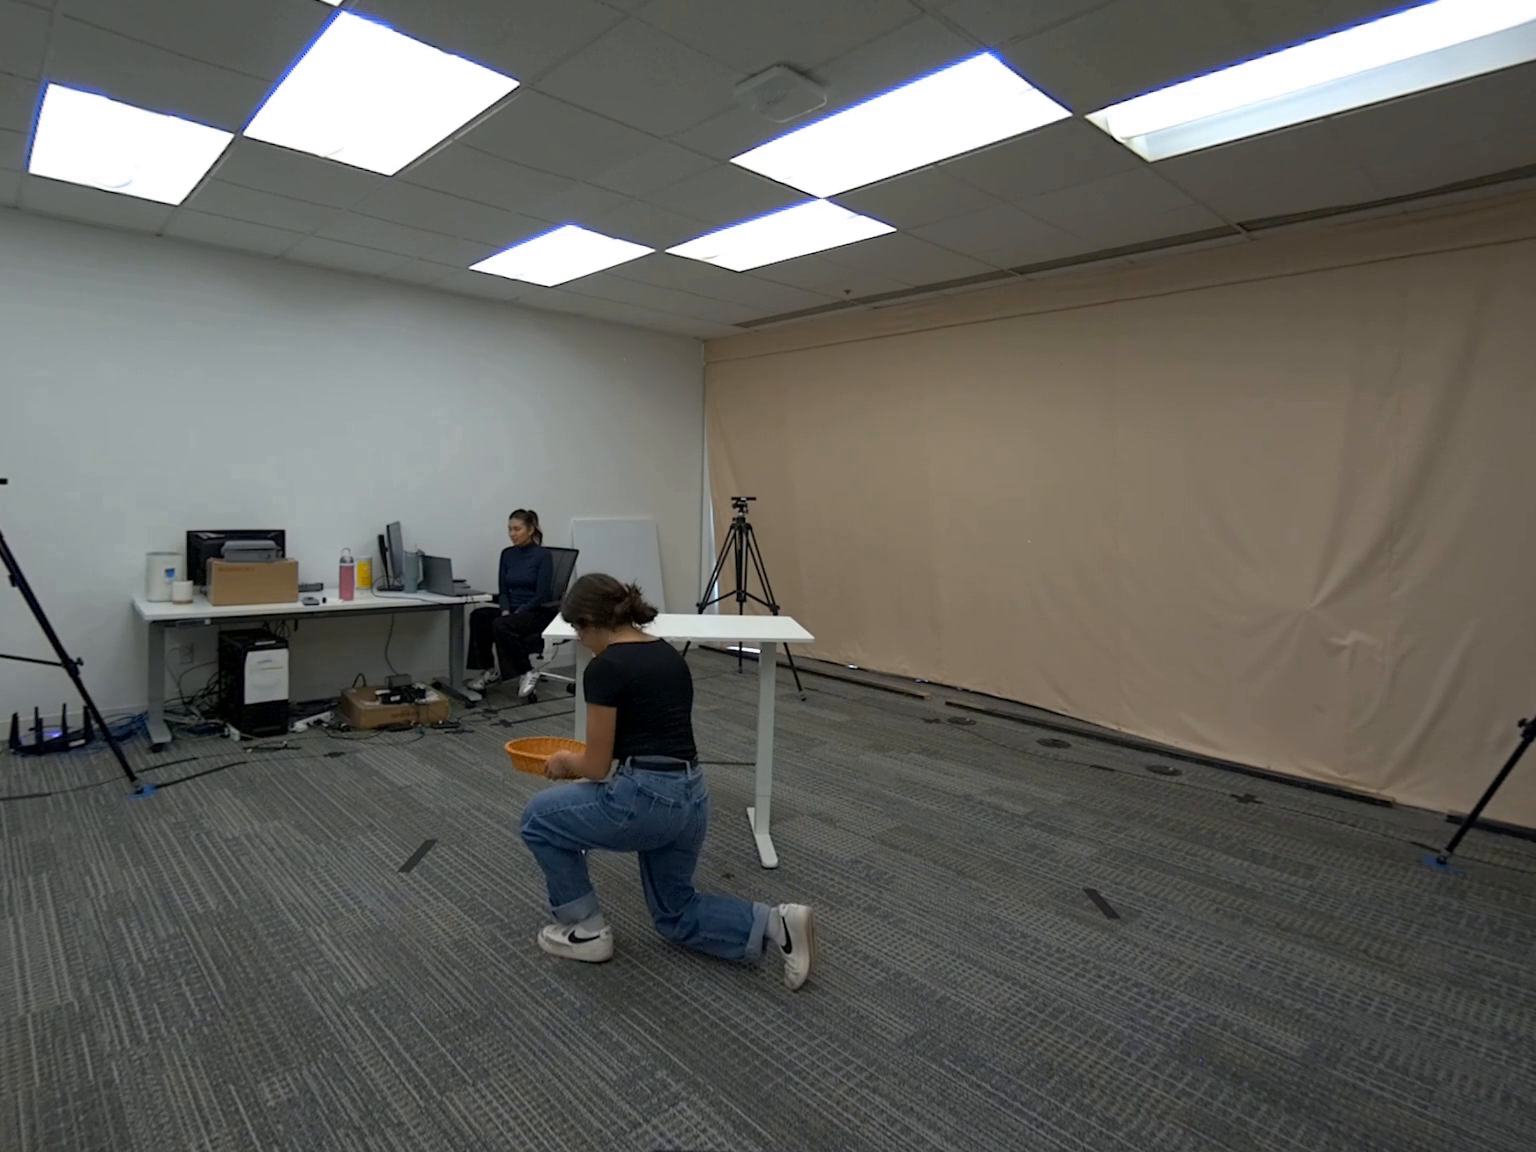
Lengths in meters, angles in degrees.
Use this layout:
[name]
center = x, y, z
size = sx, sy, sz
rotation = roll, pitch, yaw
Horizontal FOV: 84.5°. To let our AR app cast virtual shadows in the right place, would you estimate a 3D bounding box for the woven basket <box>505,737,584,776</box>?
[woven basket]
center = -0.707, 0.611, 2.779
size = 0.357, 0.073, 0.248
rotation = 4, 3, 24
